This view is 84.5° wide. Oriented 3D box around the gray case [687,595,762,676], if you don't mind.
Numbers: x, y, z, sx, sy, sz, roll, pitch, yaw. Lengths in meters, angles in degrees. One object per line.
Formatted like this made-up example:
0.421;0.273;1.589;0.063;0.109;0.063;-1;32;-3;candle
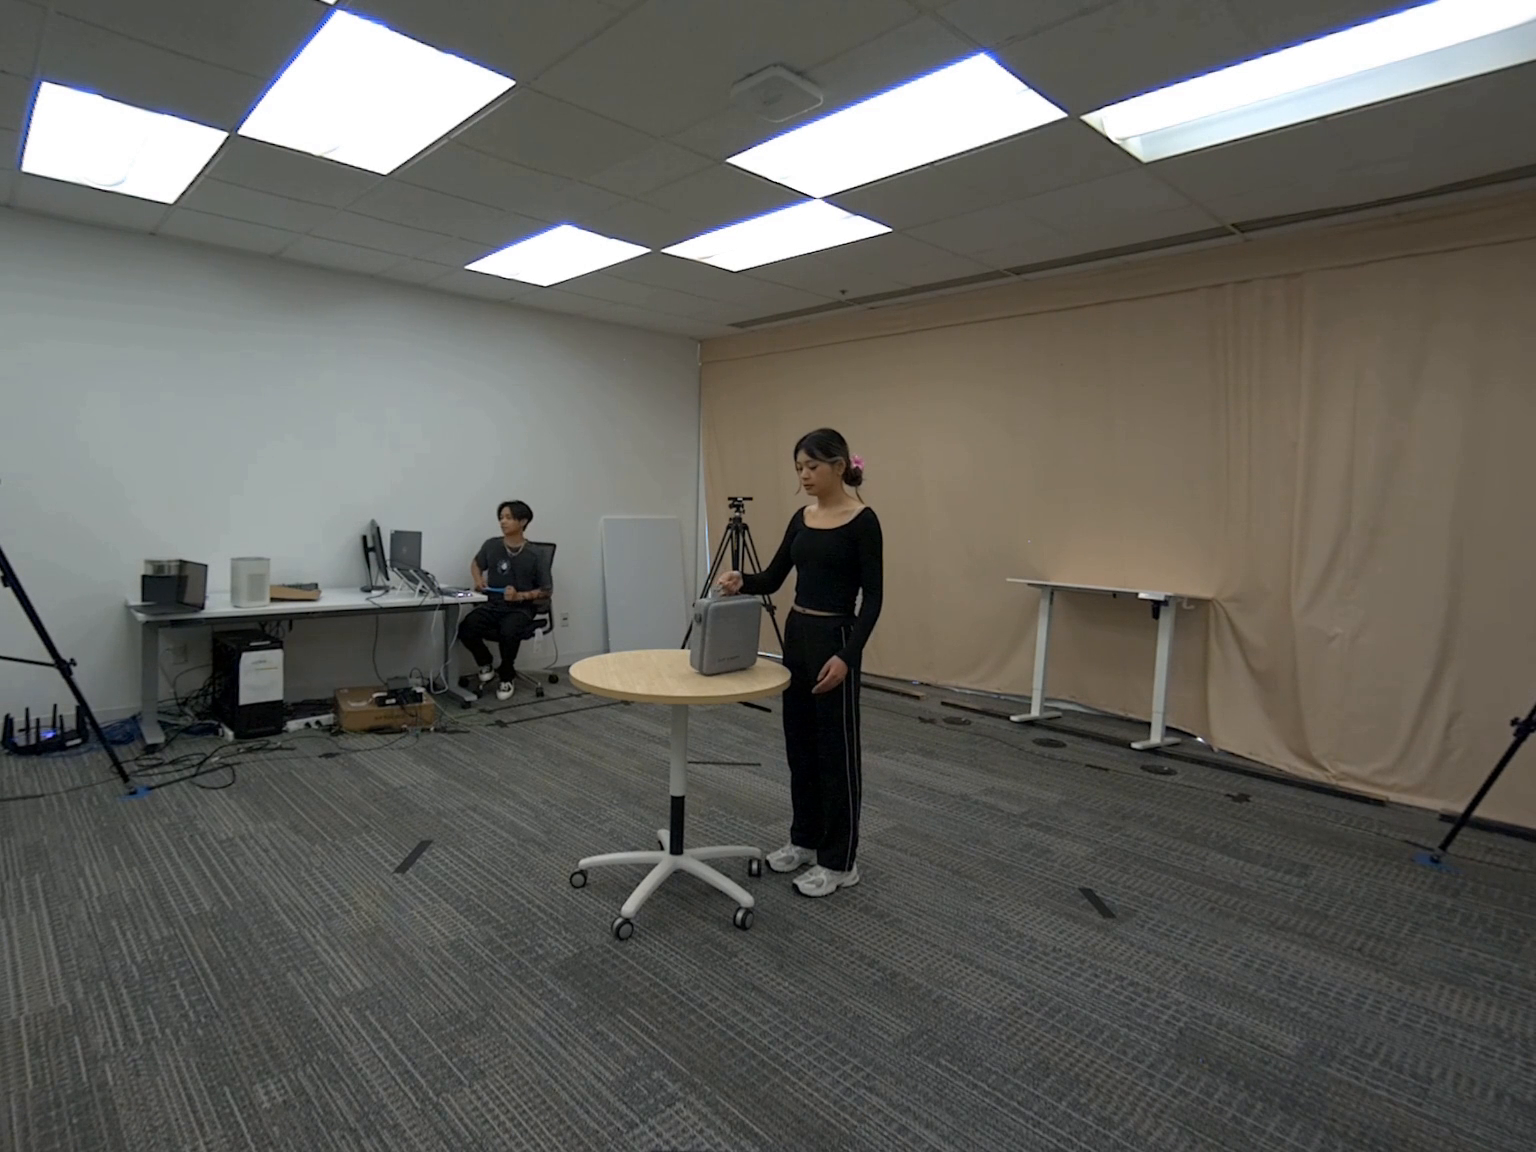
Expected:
-0.153;0.194;2.906;0.107;0.259;0.251;12;10;43;gray case
